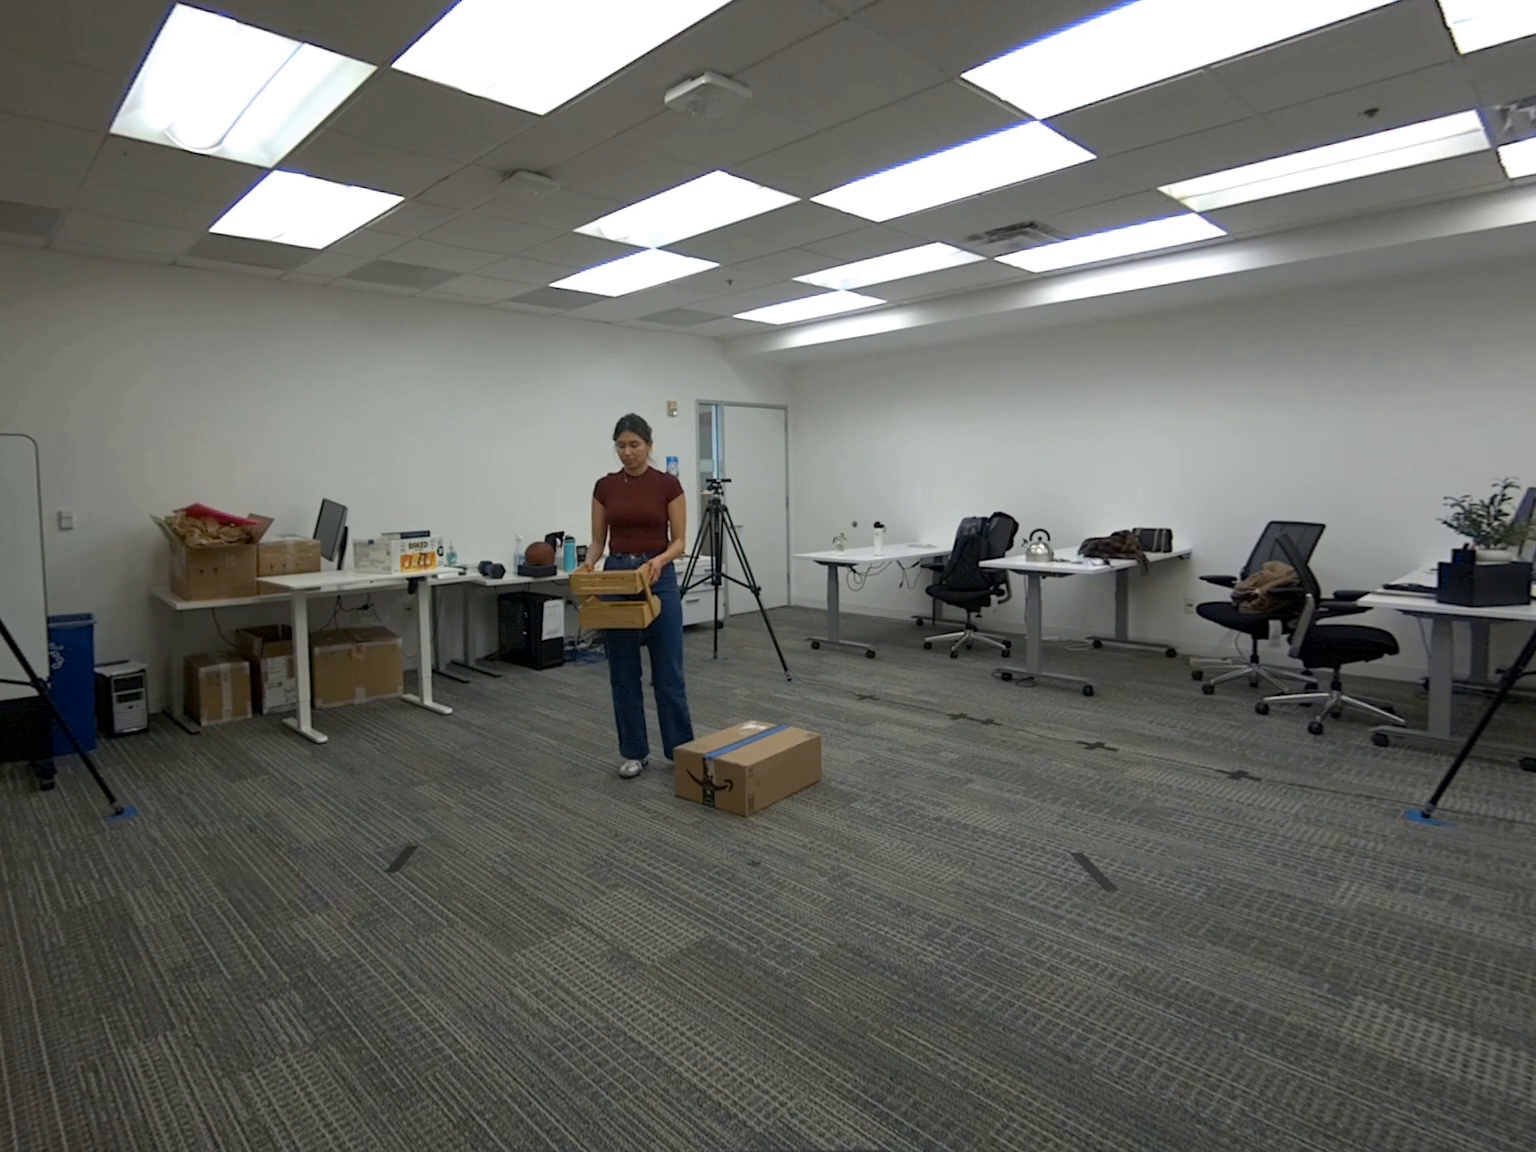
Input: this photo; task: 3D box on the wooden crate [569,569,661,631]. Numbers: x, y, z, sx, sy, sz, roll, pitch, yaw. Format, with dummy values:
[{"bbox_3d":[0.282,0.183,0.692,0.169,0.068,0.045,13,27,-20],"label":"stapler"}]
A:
[{"bbox_3d":[-0.671,0.072,3.778,0.328,0.270,0.302,-2,14,12],"label":"wooden crate"}]
